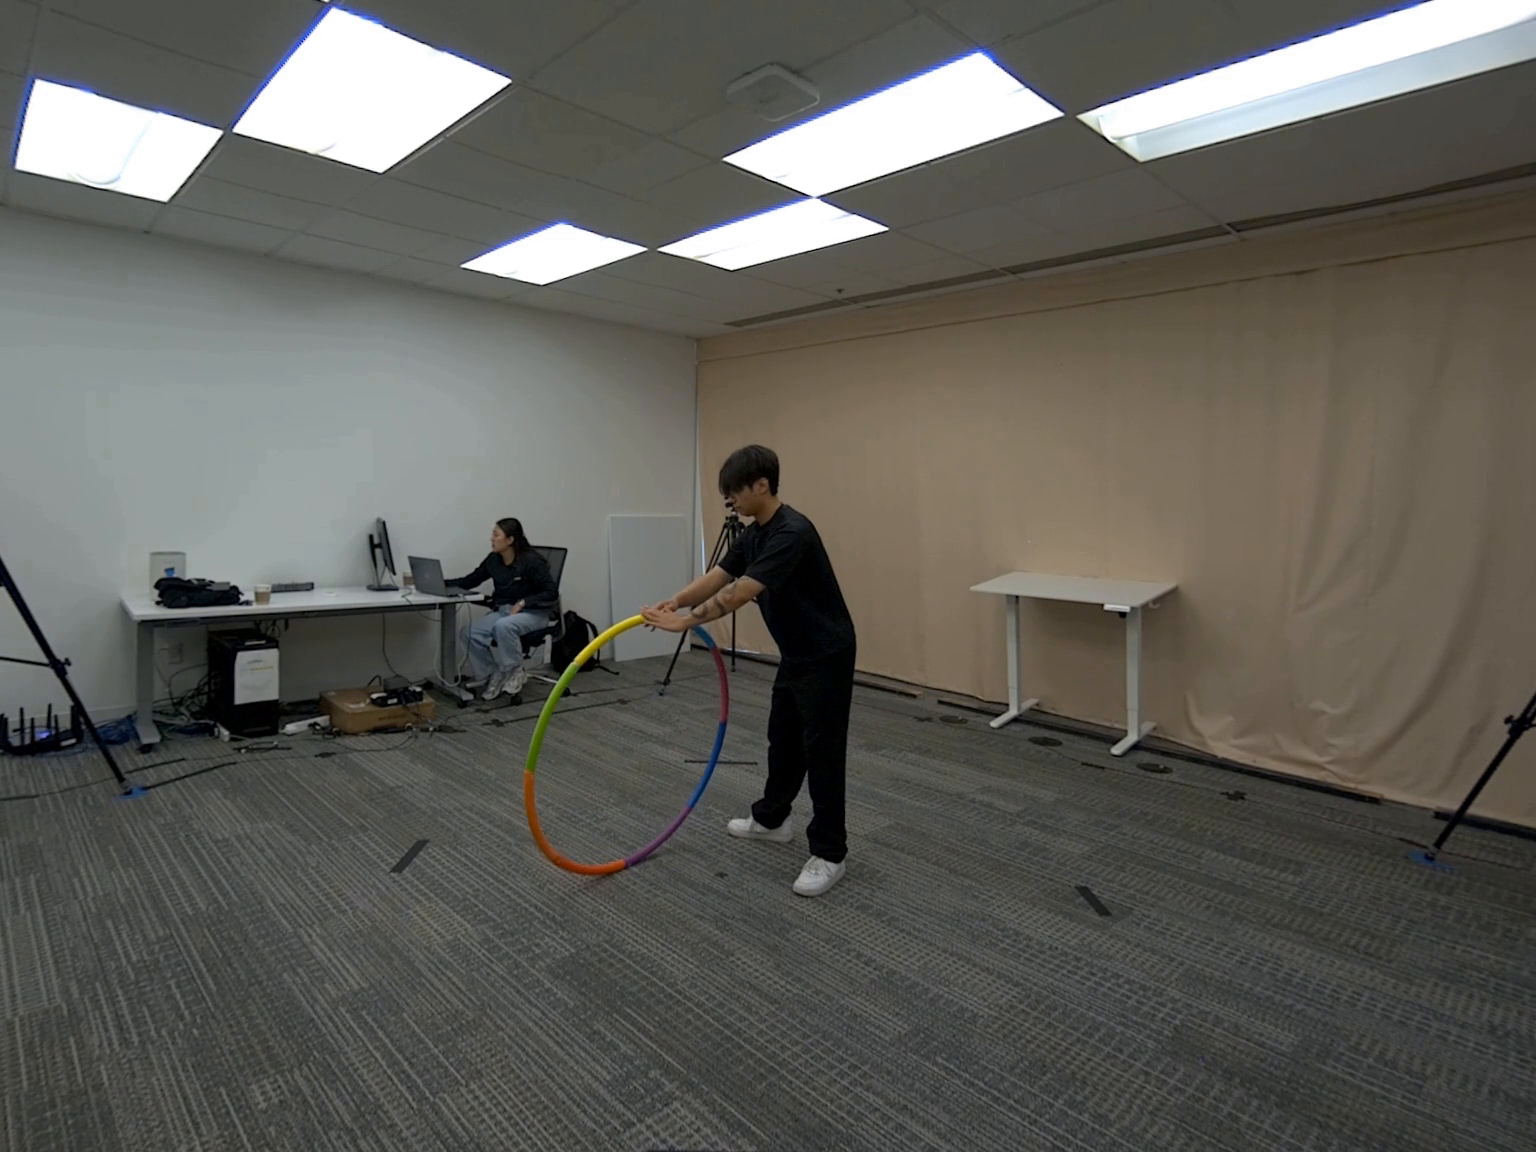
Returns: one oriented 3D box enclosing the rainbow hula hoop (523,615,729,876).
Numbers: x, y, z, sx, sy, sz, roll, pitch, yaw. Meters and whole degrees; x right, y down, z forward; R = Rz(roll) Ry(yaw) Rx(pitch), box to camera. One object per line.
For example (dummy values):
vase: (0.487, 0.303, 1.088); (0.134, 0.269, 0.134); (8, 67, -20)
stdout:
rainbow hula hoop: (-0.489, 0.616, 3.084); (0.036, 0.973, 0.957); (13, 10, 37)
